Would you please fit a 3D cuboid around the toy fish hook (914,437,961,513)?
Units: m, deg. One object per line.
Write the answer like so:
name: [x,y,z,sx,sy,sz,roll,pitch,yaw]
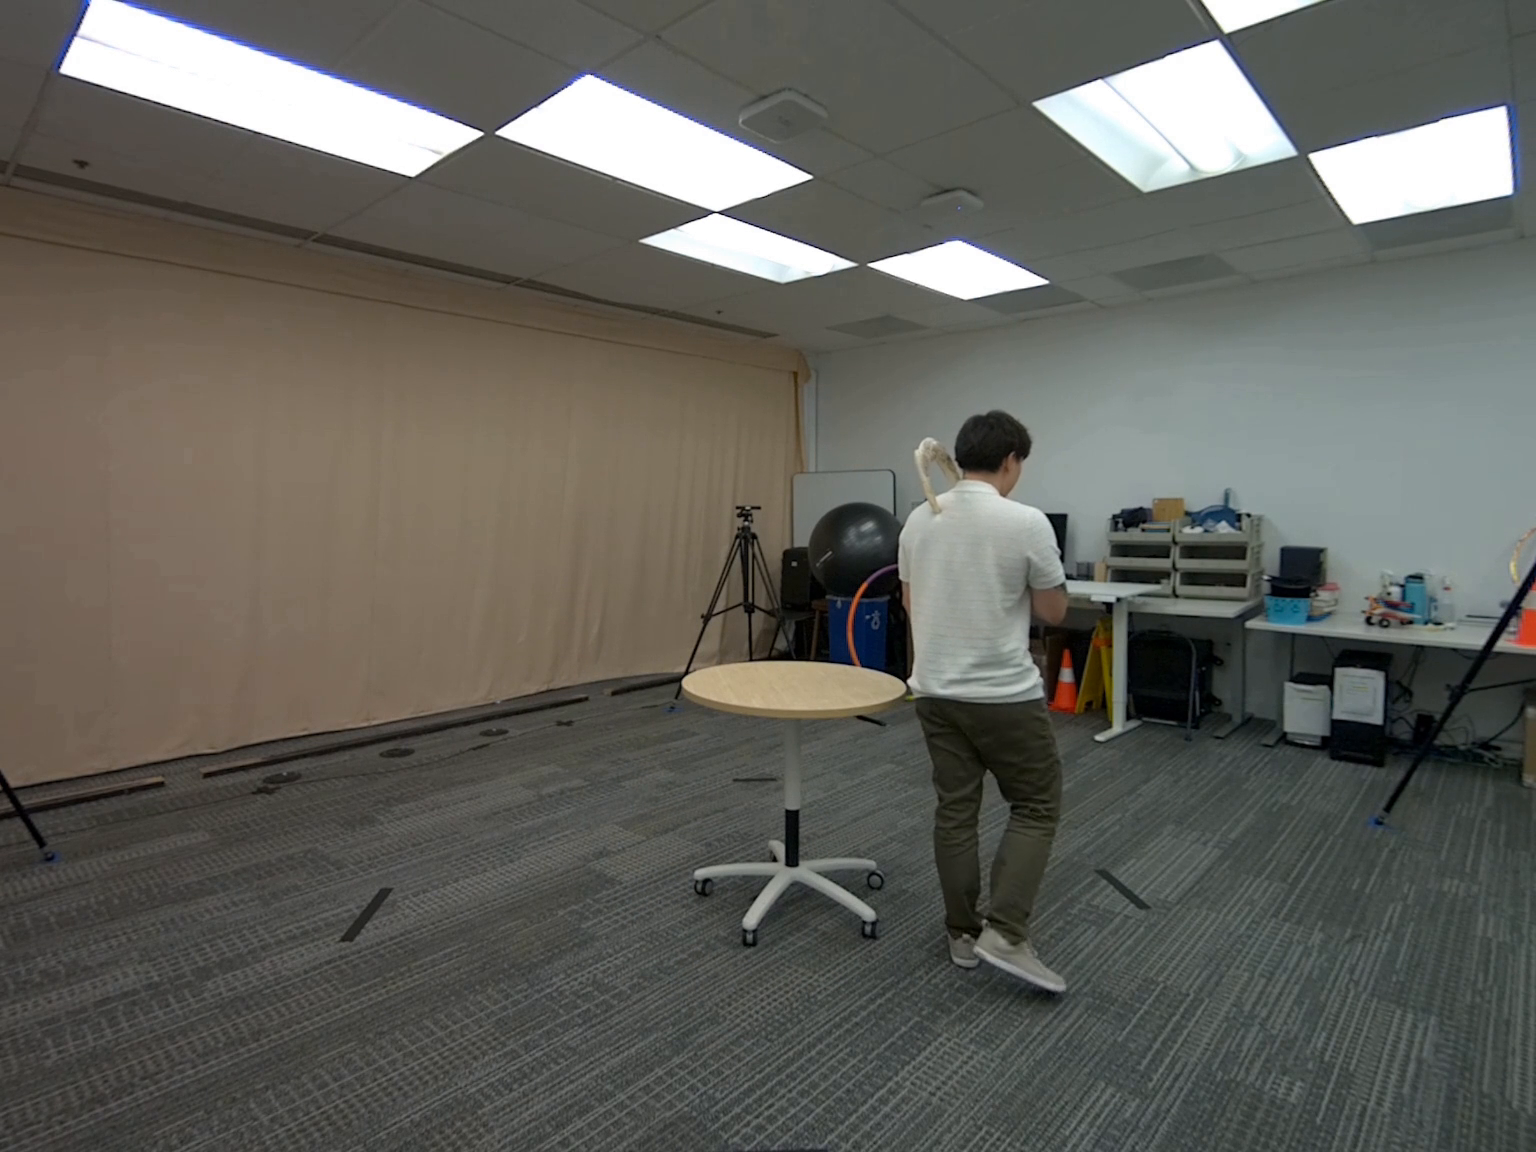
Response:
toy fish hook: [0.602,-0.190,2.606,0.049,0.500,0.222,-18,18,47]
